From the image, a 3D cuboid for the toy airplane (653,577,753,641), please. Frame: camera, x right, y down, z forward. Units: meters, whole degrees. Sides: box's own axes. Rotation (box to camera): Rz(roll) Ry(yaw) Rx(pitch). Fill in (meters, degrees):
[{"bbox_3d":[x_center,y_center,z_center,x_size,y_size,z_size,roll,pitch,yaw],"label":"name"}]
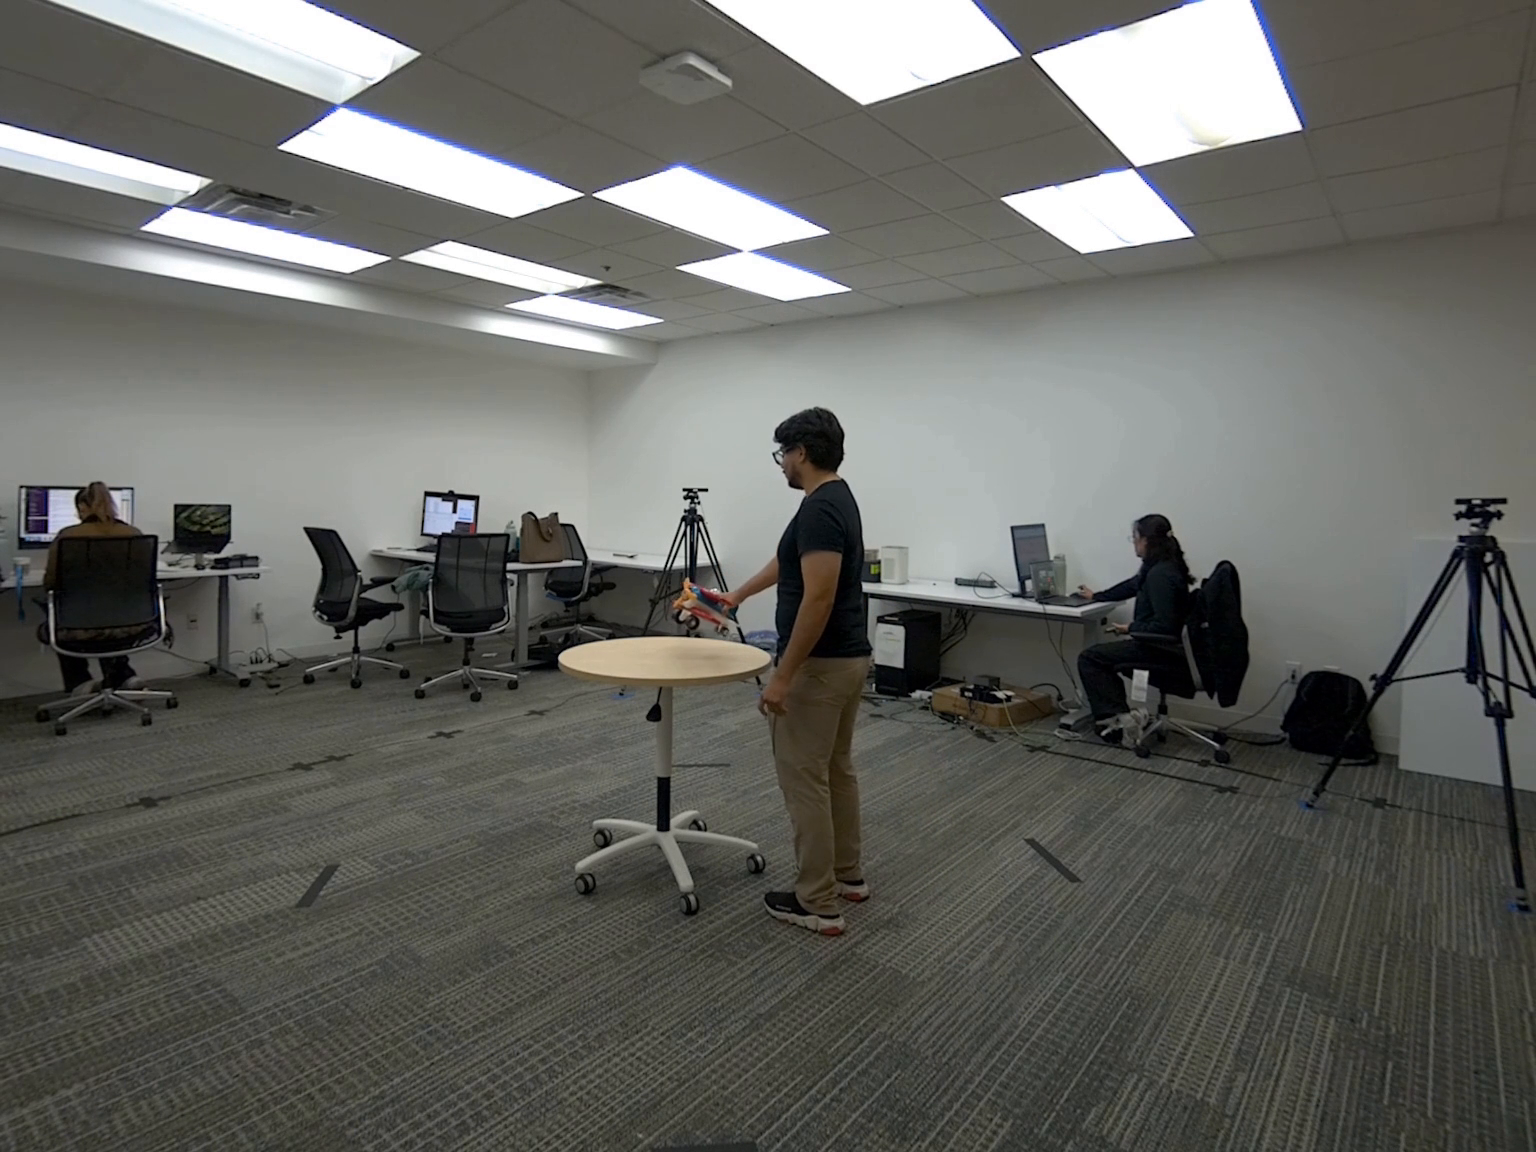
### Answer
[{"bbox_3d":[-0.238,0.122,3.111,0.258,0.156,0.252,16,0,21],"label":"toy airplane"}]
